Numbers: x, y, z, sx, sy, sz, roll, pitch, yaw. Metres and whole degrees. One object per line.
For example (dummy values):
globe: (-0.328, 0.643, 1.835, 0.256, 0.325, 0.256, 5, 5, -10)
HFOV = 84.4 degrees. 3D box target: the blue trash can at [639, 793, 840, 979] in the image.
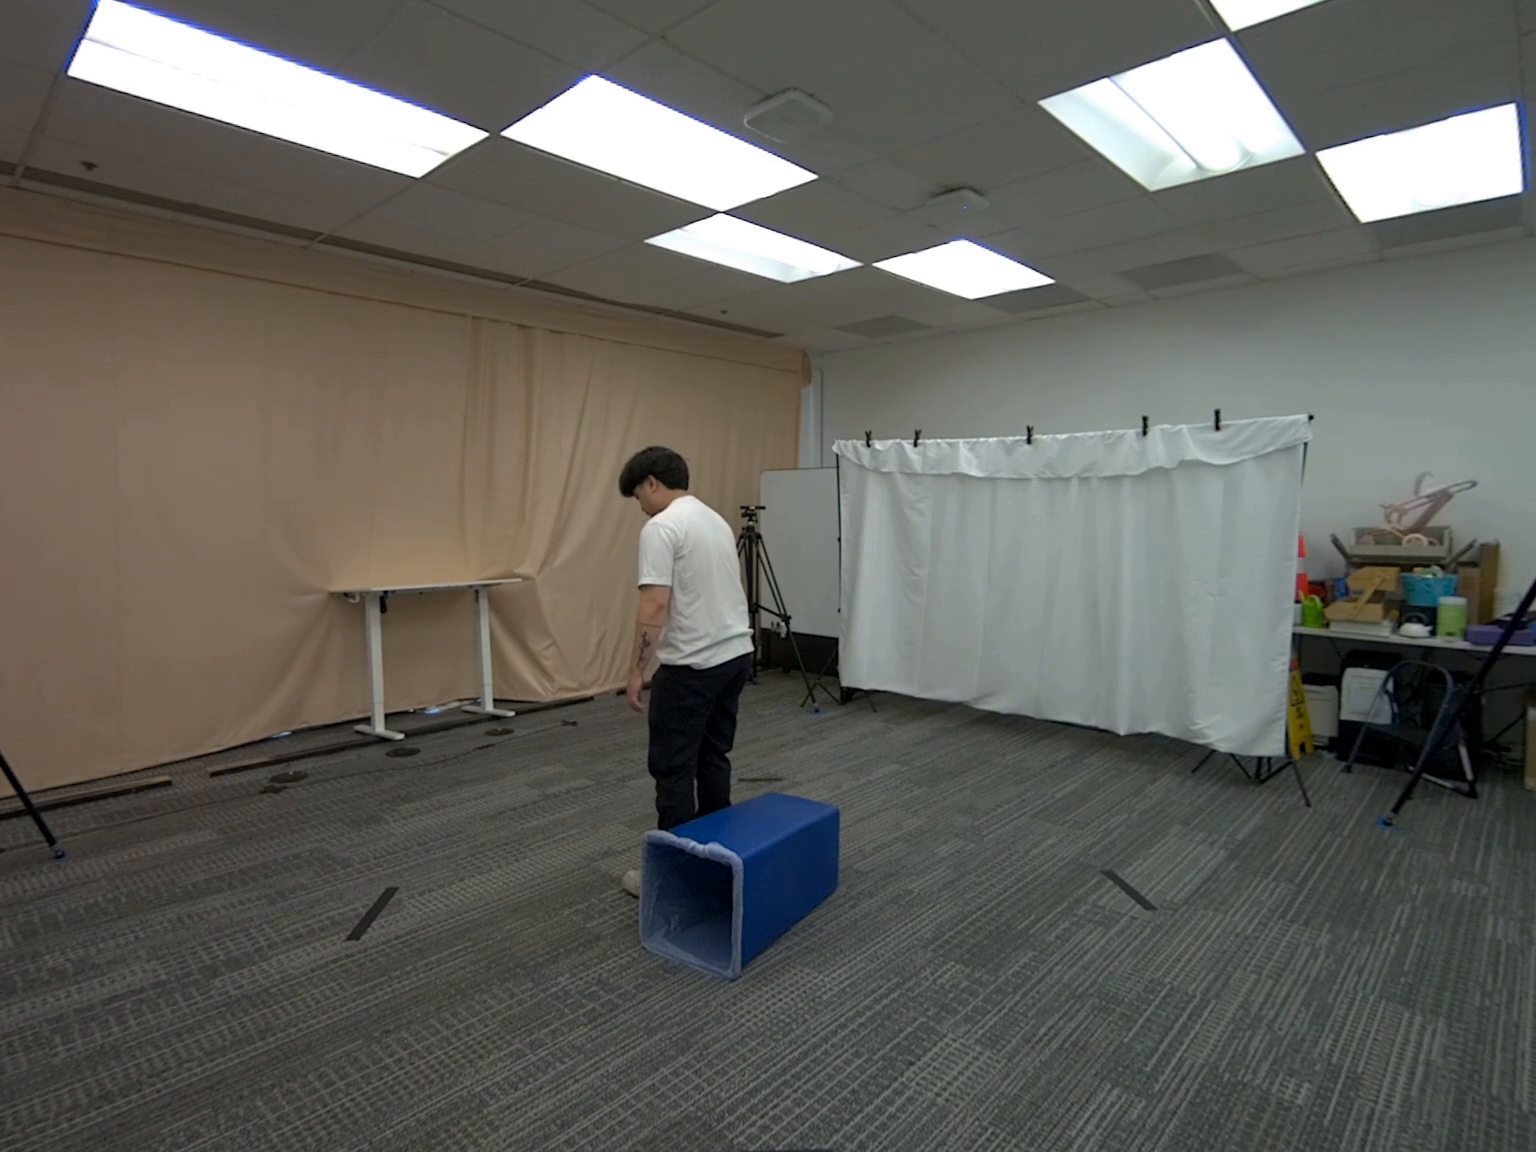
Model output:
blue trash can: (-0.050, 0.994, 2.839, 0.390, 0.374, 0.692, 1, 1, 34)
